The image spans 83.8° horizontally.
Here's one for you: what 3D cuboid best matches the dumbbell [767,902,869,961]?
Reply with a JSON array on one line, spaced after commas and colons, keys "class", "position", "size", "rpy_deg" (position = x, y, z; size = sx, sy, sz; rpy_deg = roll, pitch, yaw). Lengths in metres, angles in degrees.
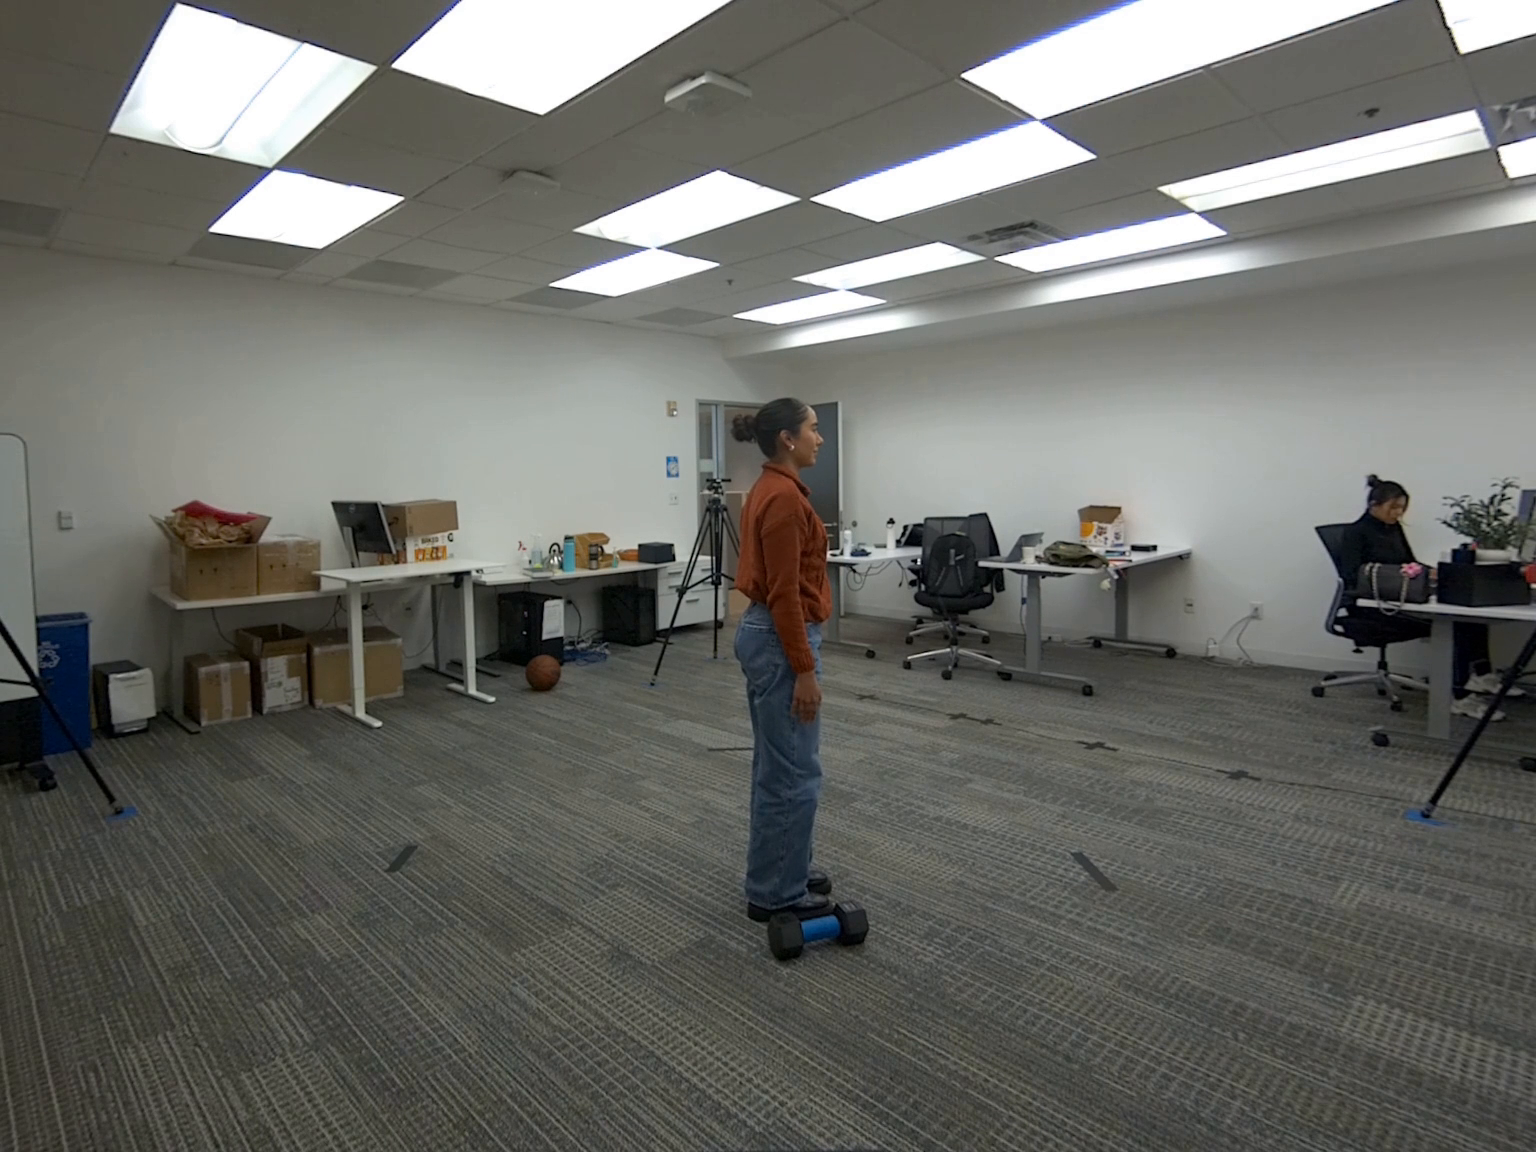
[{"class": "dumbbell", "position": [0.157, 1.060, 2.534], "size": [0.289, 0.126, 0.108], "rpy_deg": [-2, -25, -19]}]
